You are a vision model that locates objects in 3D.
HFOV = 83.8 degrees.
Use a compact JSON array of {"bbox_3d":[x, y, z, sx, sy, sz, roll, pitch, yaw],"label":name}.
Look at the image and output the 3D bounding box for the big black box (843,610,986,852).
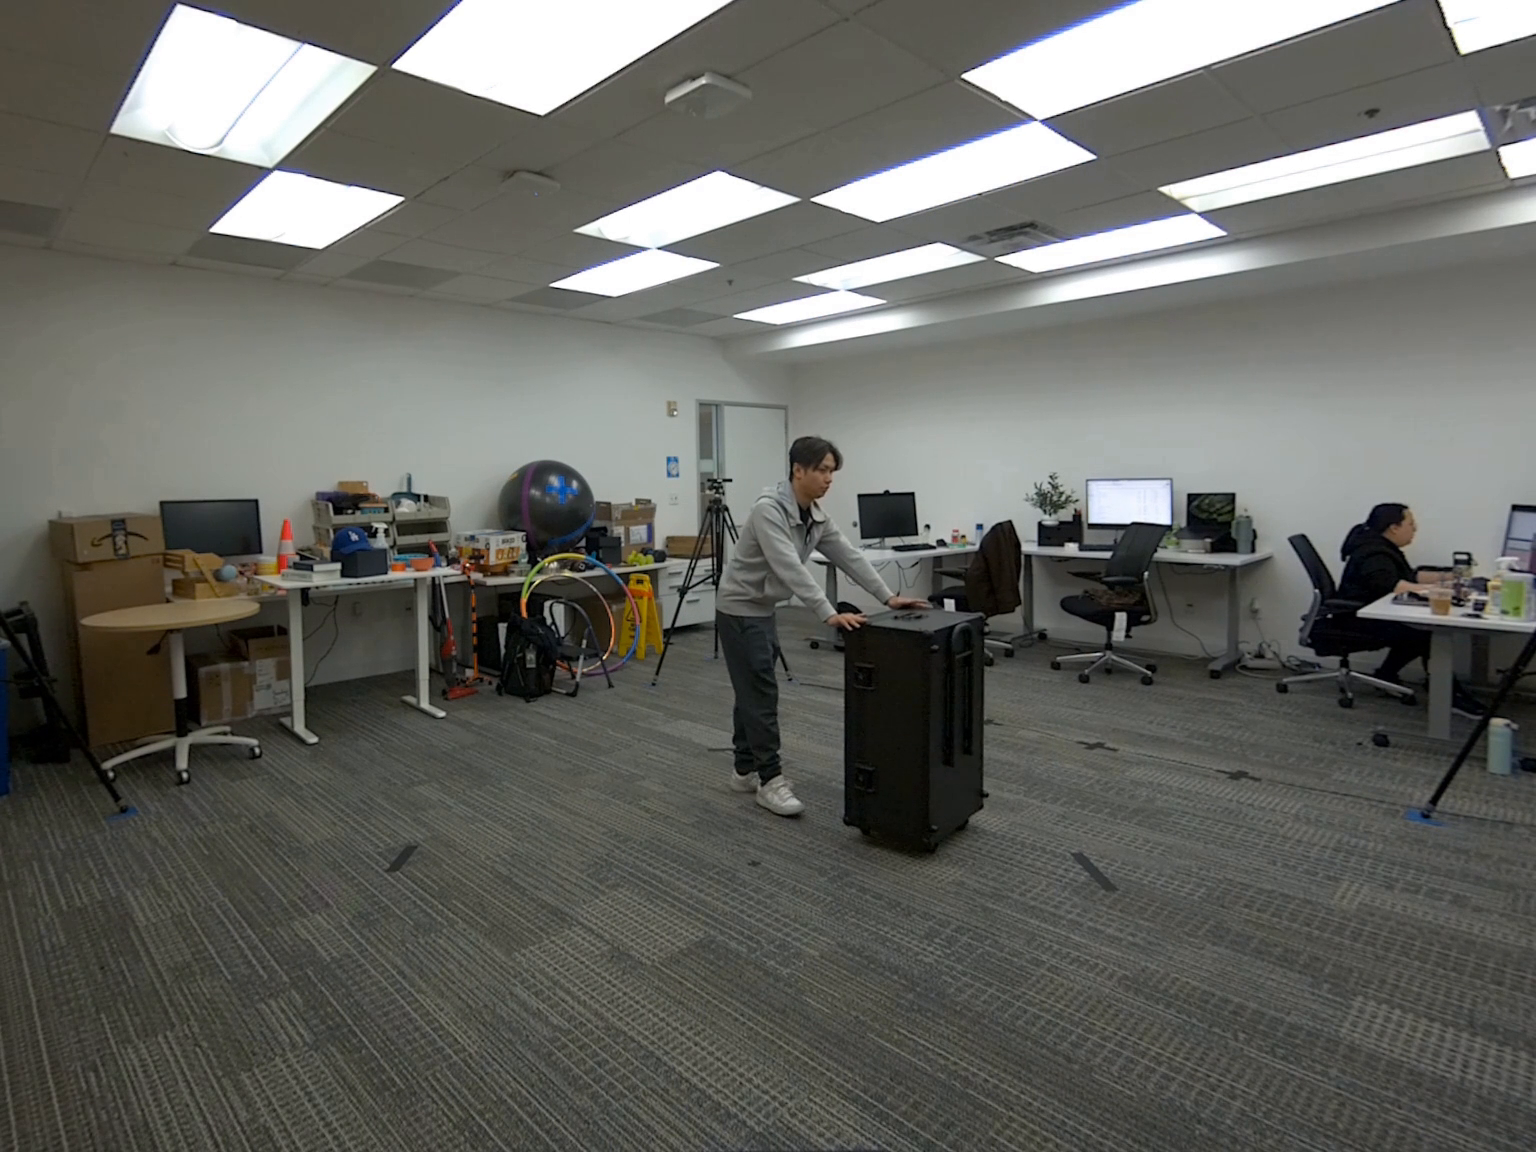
[{"bbox_3d":[0.587,0.587,3.313,0.408,0.858,0.508,4,6,39],"label":"big black box"}]
